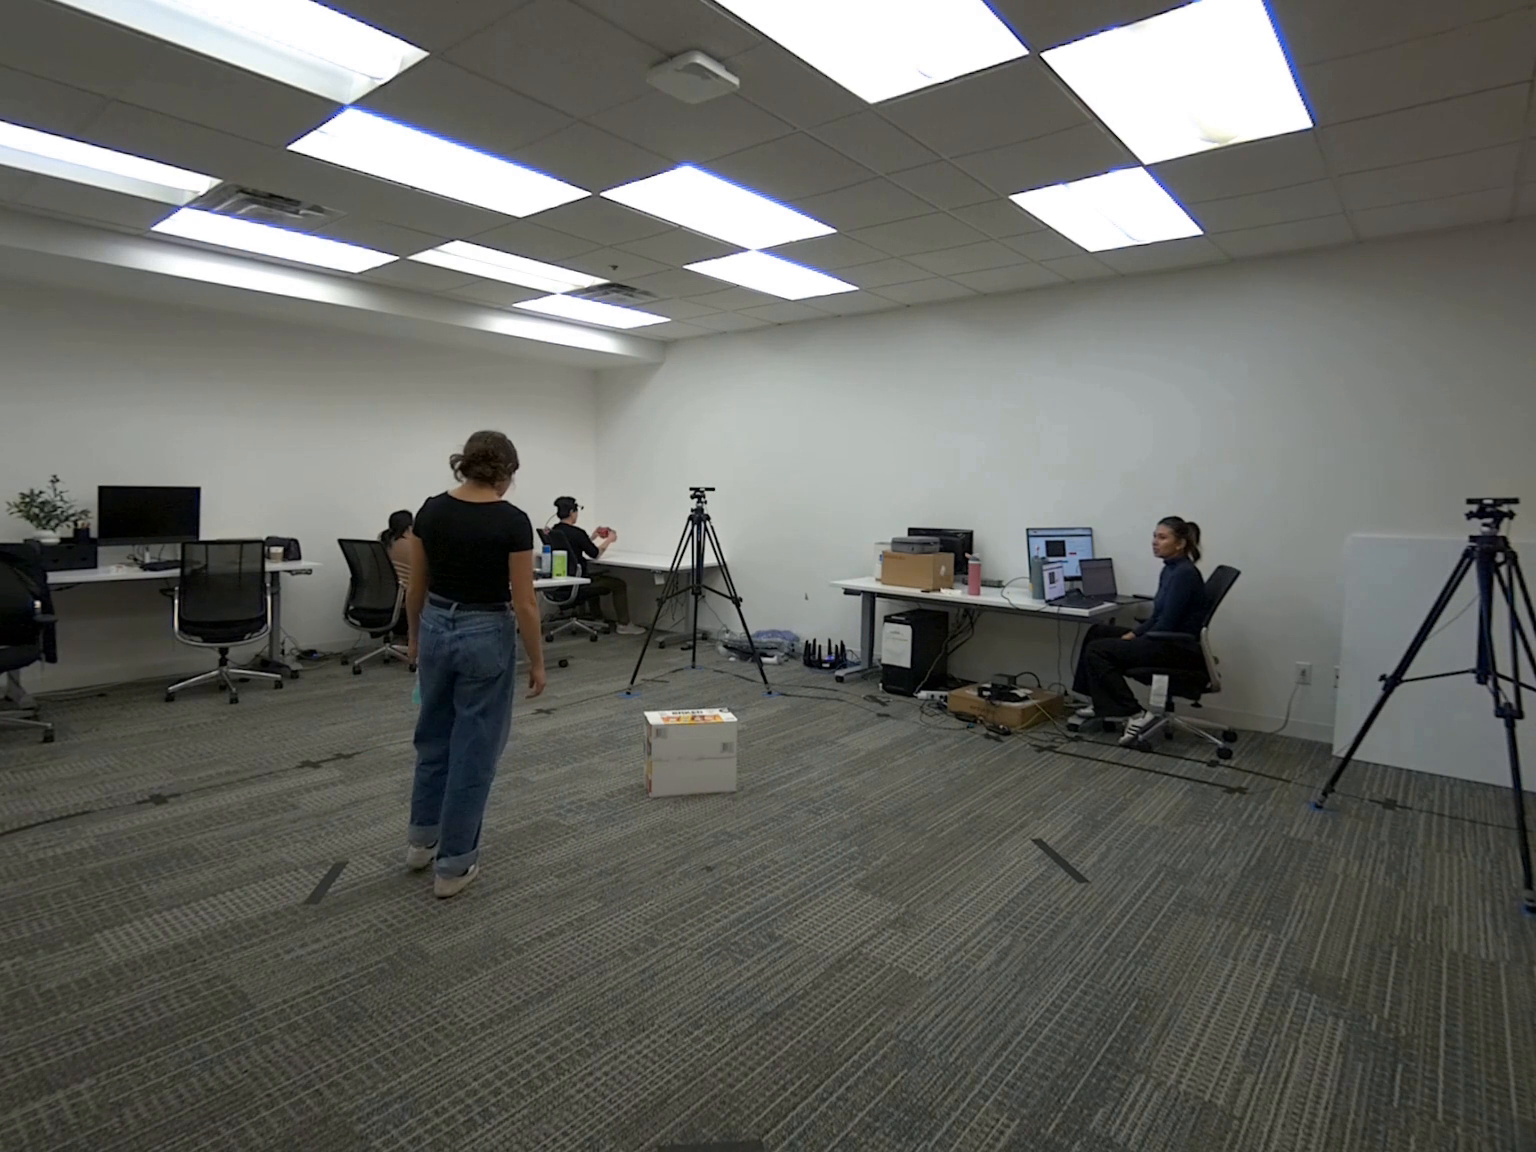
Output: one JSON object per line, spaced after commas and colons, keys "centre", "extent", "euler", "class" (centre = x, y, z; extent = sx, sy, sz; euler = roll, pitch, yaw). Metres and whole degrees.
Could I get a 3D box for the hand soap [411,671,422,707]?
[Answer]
{"centre": [-1.303, 0.387, 3.145], "extent": [0.043, 0.169, 0.085], "euler": [2, -6, -17], "class": "hand soap"}
